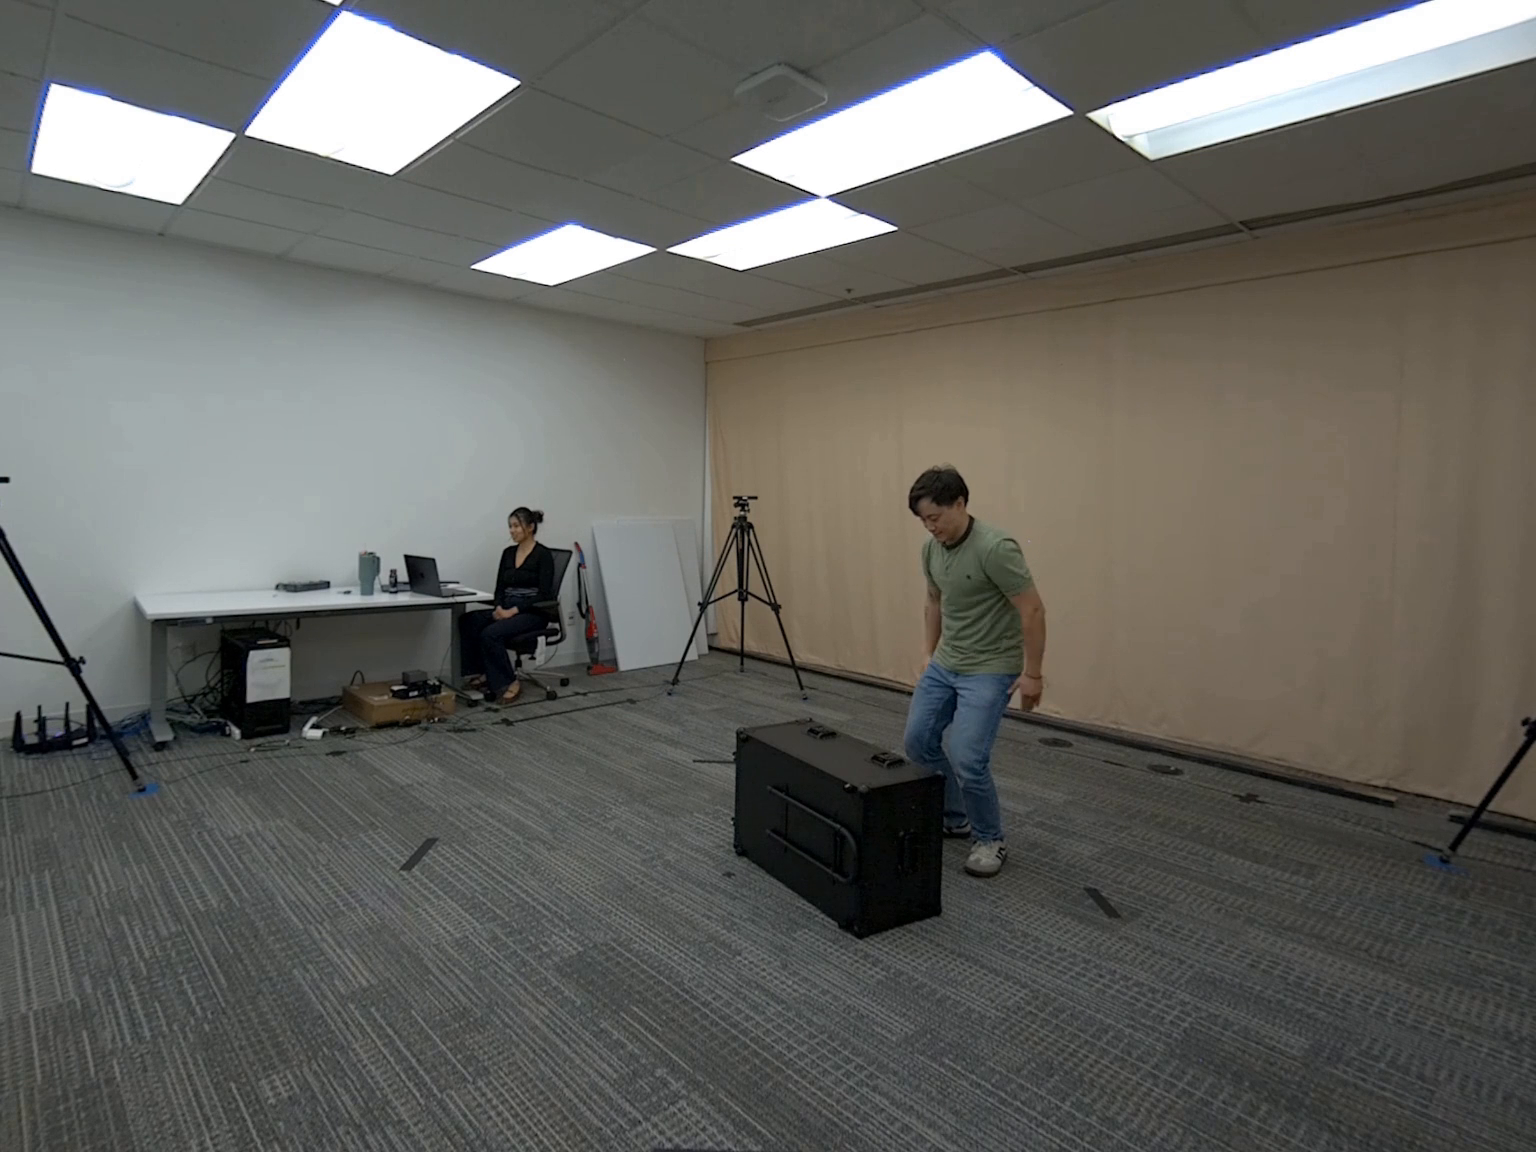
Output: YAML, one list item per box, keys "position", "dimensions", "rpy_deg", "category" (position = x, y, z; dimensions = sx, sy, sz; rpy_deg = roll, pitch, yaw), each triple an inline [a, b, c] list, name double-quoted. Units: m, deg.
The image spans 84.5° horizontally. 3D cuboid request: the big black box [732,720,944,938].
- position: [0.196, 0.870, 3.092]
  dimensions: [0.388, 0.520, 0.881]
  rpy_deg: [-1, 5, -31]
  category: "big black box"
